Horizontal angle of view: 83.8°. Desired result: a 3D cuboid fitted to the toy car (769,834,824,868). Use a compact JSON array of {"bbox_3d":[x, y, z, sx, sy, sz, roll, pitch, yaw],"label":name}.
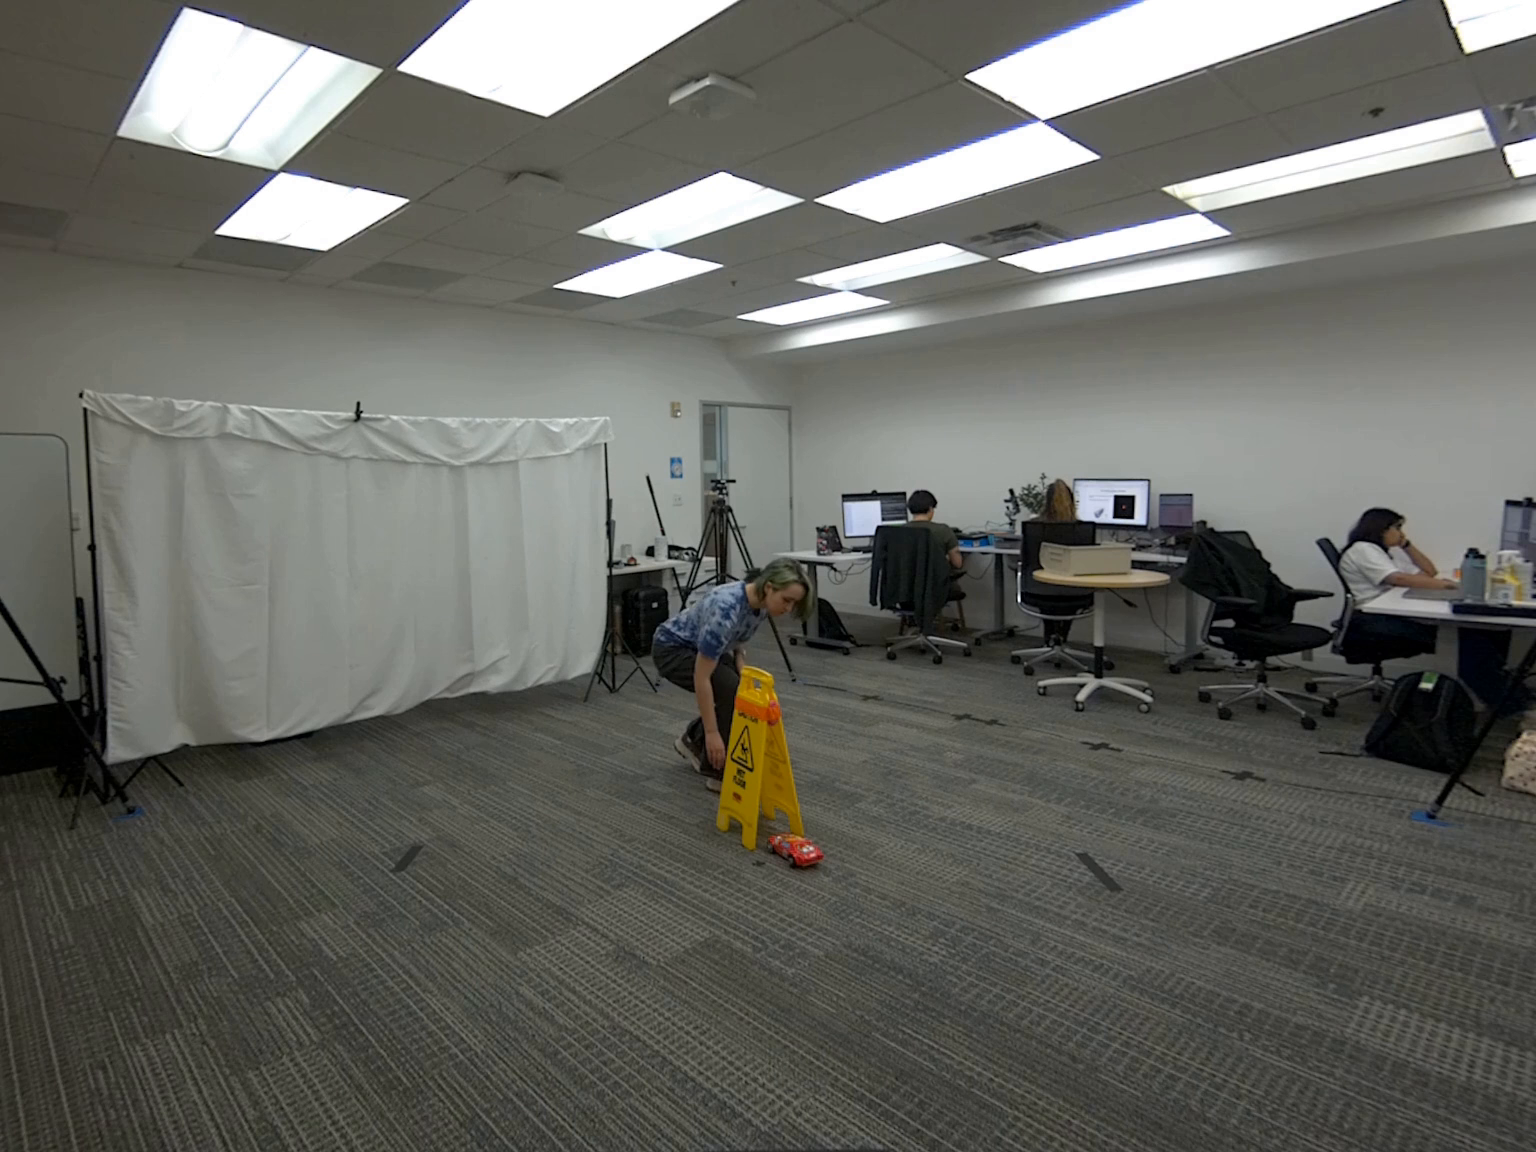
[{"bbox_3d":[0.107,1.016,3.138,0.127,0.084,0.258,-5,-7,-29],"label":"toy car"}]
